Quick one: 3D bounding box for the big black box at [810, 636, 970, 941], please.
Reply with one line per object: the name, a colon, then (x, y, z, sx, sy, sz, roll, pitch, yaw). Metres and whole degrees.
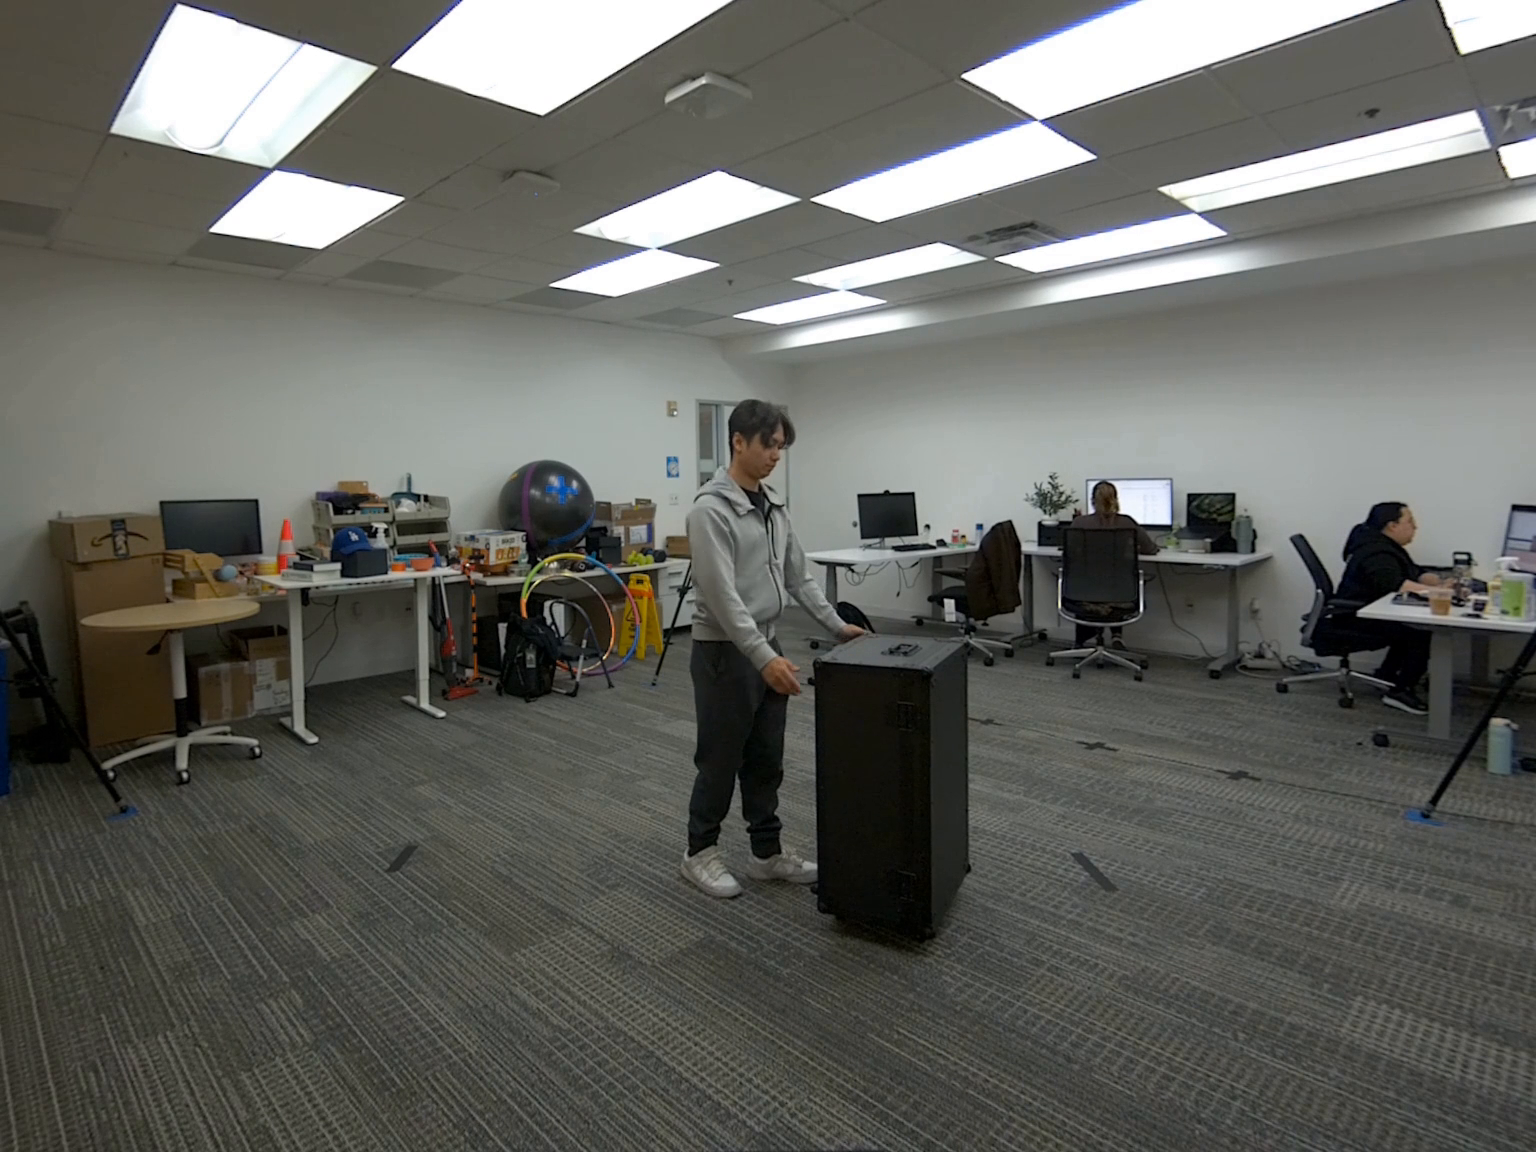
big black box: (0.401, 0.659, 2.715, 0.406, 0.859, 0.510, 0, 4, 27)
